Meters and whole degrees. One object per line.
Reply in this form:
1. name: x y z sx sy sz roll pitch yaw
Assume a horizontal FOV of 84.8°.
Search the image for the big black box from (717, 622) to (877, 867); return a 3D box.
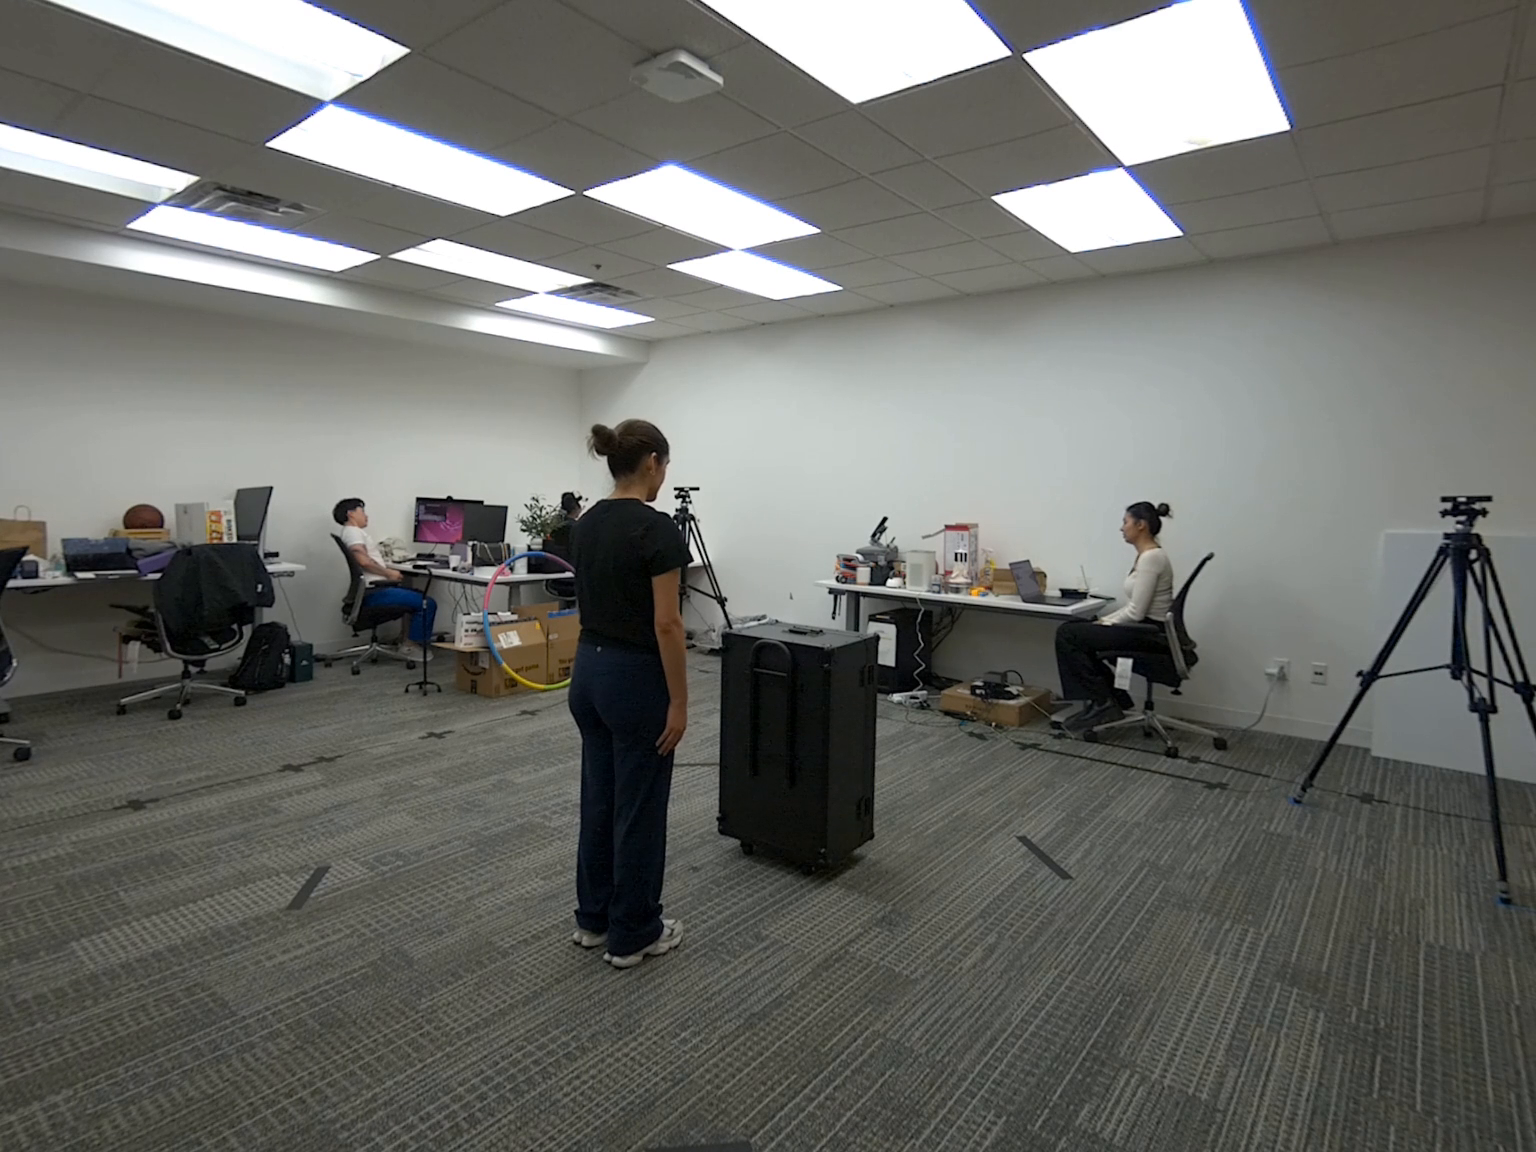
1. big black box: 0.128 0.636 3.225 0.538 0.858 0.385 4 5 37
